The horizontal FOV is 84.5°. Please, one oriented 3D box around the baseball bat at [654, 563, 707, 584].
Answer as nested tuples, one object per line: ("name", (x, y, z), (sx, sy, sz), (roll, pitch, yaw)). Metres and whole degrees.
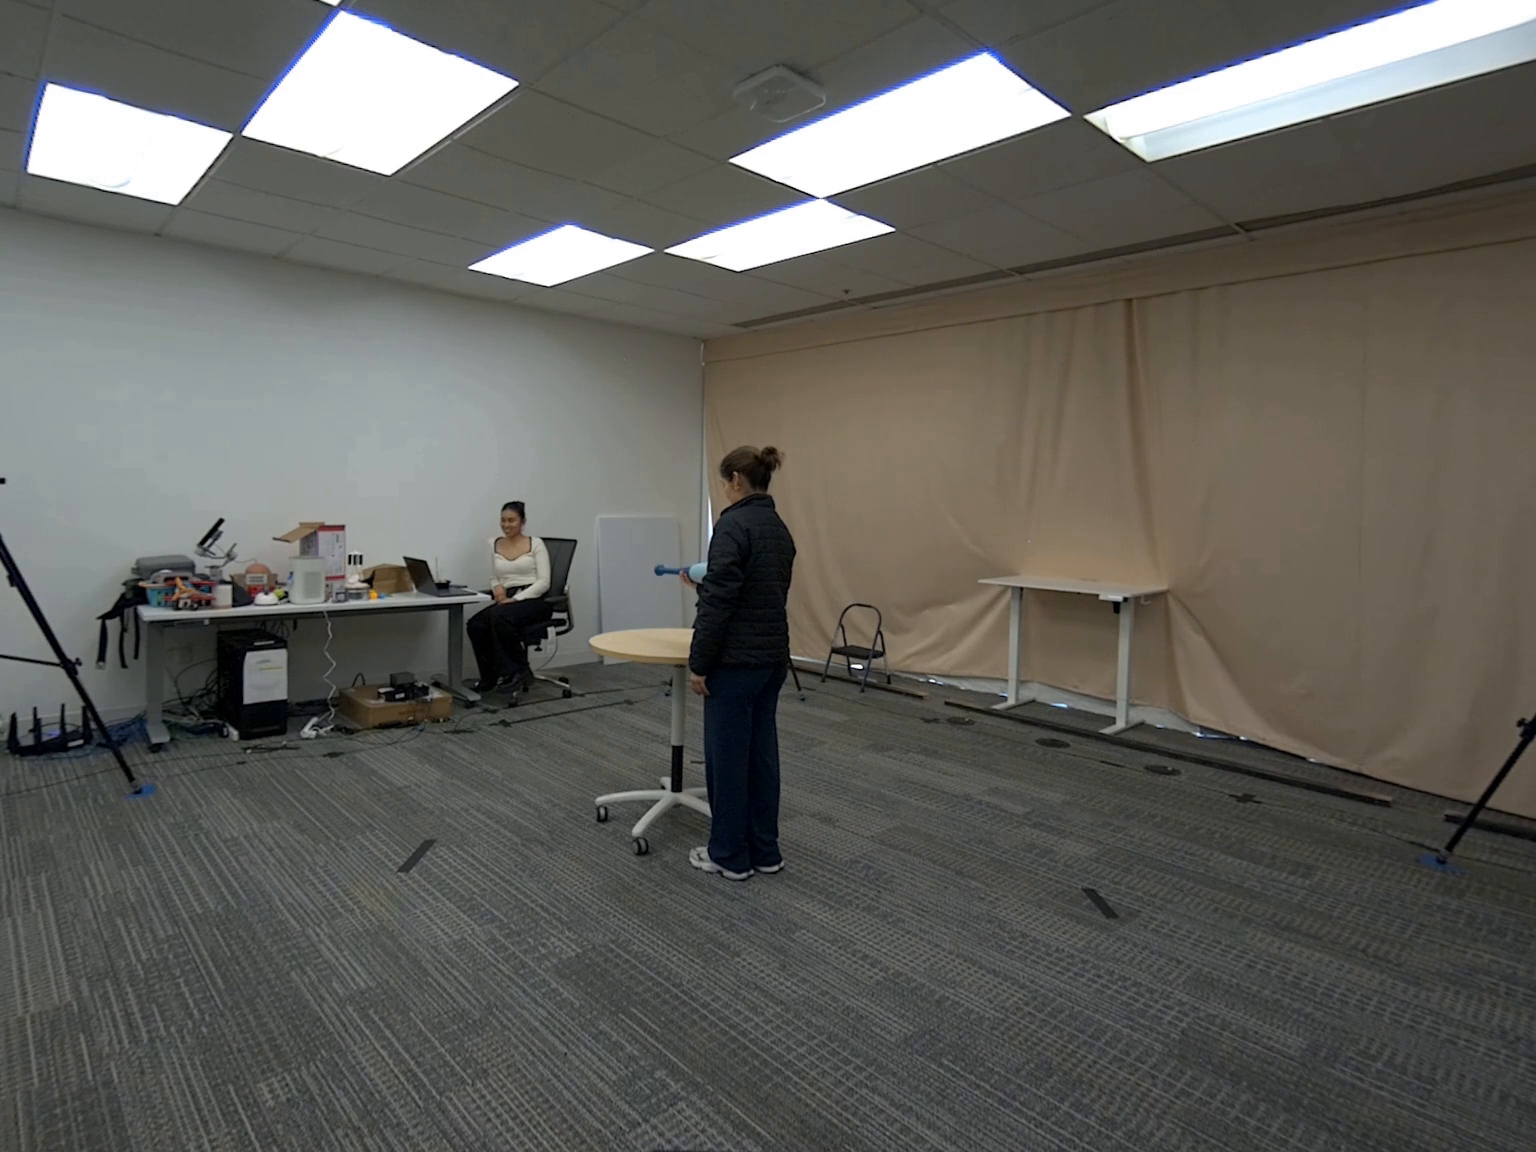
("baseball bat", (-0.313, -0.014, 3.466), (0.087, 0.089, 0.556), (-2, 3, -39))
